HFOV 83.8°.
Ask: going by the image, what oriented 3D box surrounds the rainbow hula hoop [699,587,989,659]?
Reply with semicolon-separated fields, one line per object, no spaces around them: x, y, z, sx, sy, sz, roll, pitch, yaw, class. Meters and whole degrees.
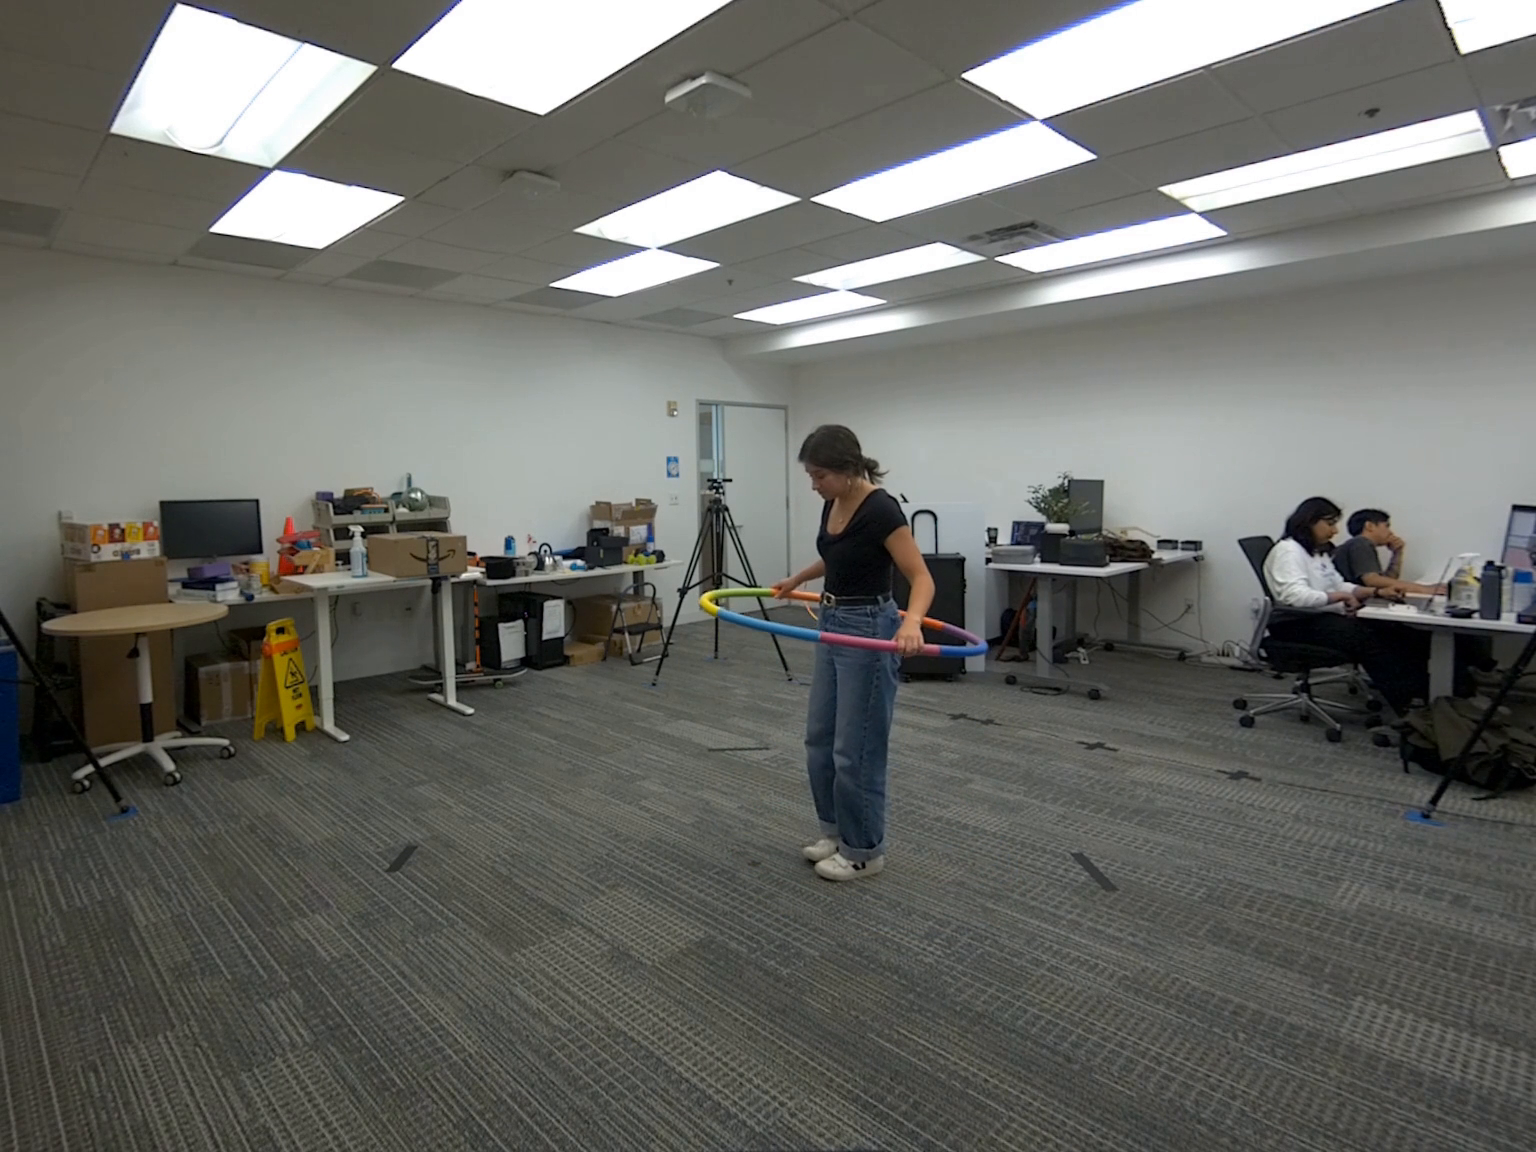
0.251;0.157;2.961;0.977;0.035;0.984;9;6;-2;rainbow hula hoop
